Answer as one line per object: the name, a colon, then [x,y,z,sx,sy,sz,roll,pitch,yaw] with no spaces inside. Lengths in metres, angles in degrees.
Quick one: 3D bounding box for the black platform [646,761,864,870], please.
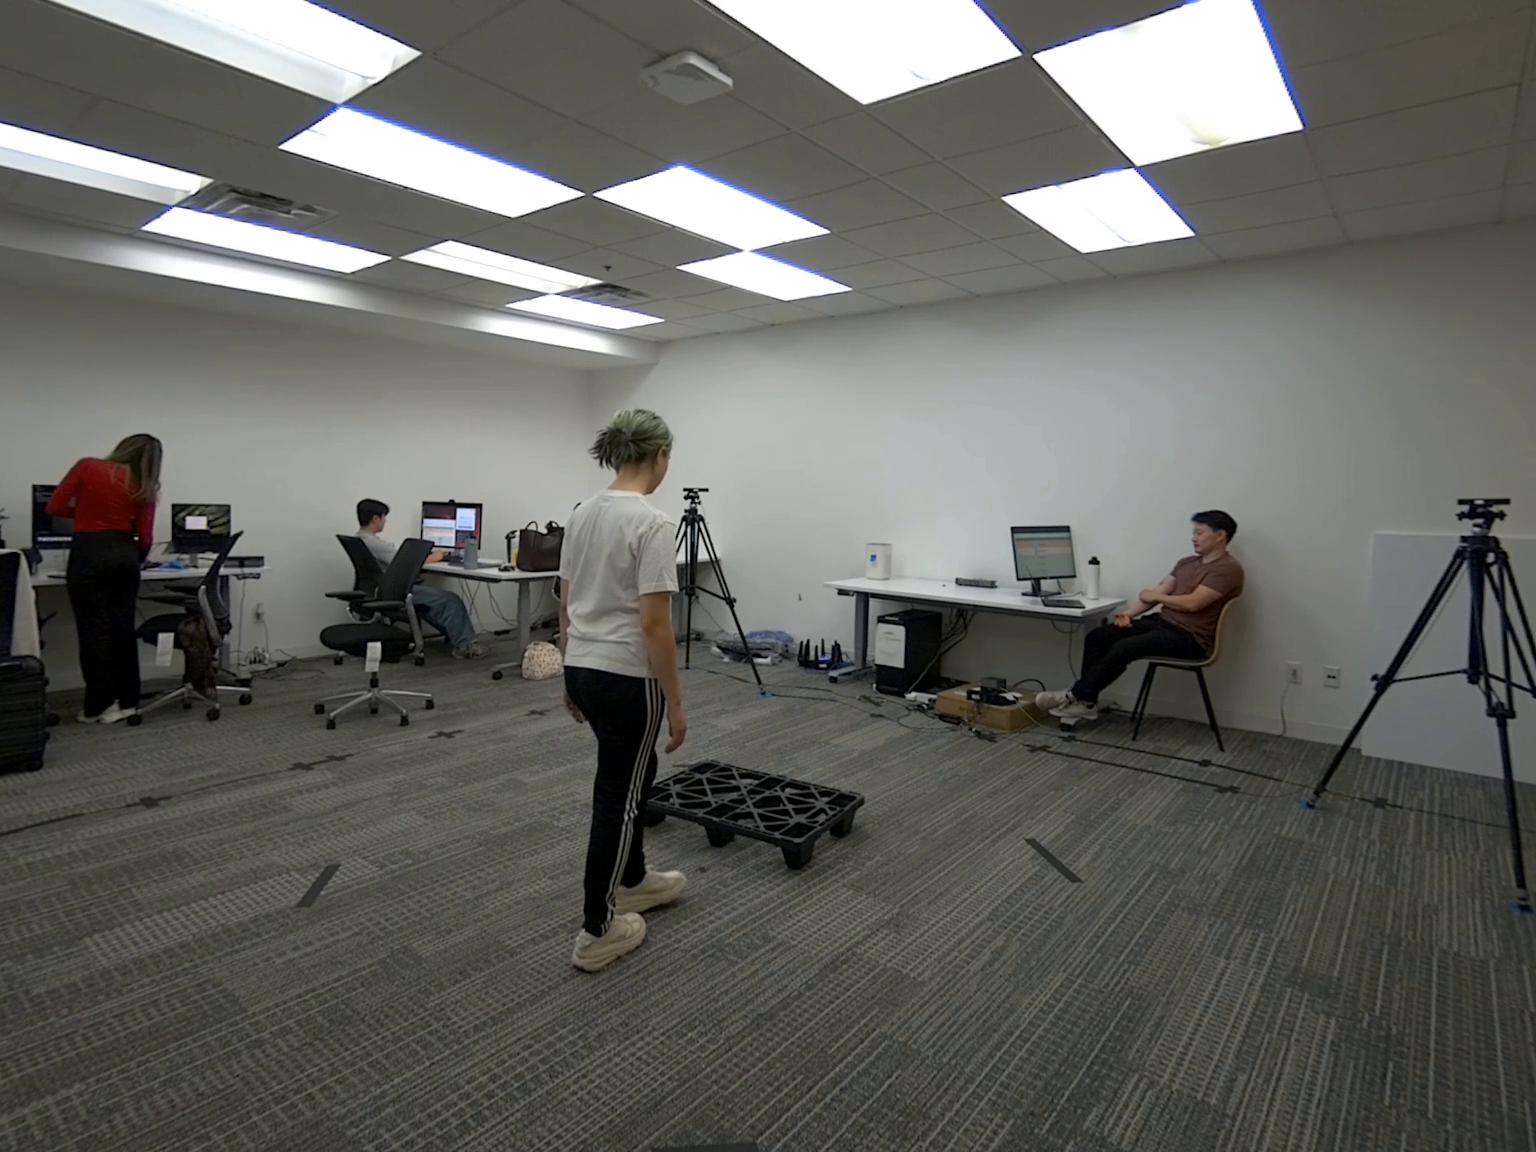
black platform: [-0.099,0.966,3.507,0.830,0.143,0.589,5,6,31]
